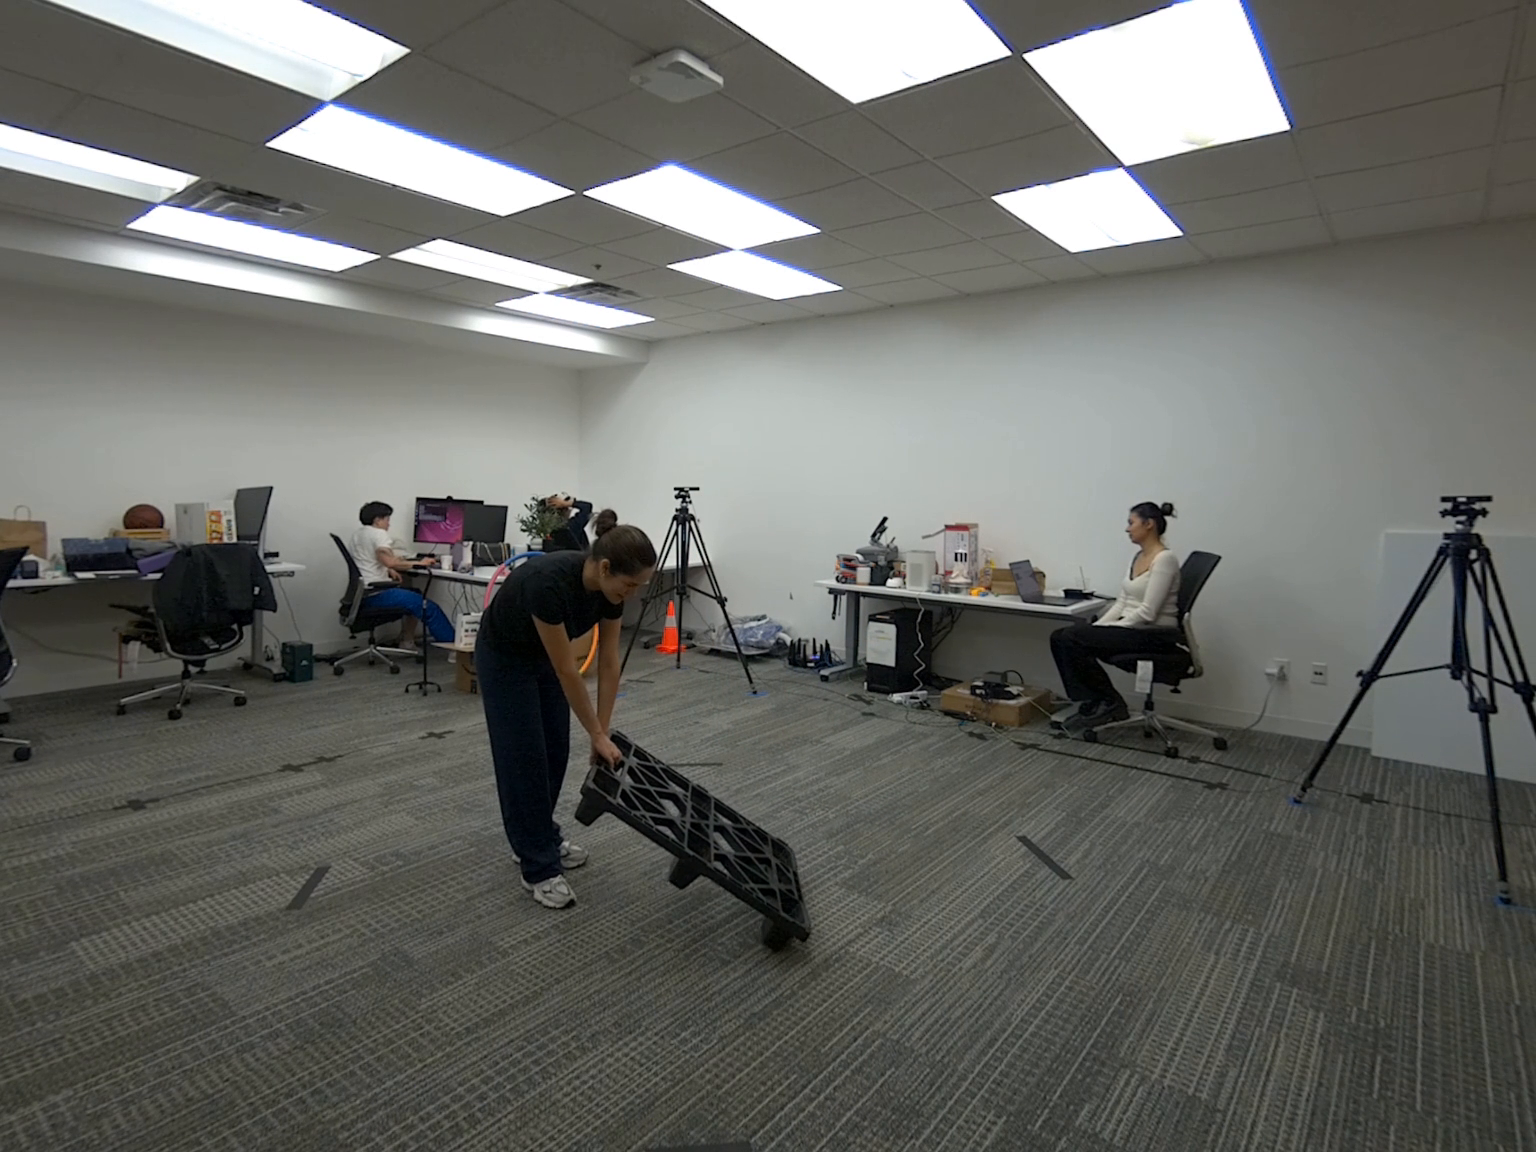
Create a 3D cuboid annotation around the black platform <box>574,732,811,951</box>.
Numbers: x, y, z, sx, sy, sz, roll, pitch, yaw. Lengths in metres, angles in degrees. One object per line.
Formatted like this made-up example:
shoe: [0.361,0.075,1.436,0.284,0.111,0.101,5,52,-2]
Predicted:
black platform: [-0.254,0.834,2.784,0.804,0.143,0.607,35,2,-2]
